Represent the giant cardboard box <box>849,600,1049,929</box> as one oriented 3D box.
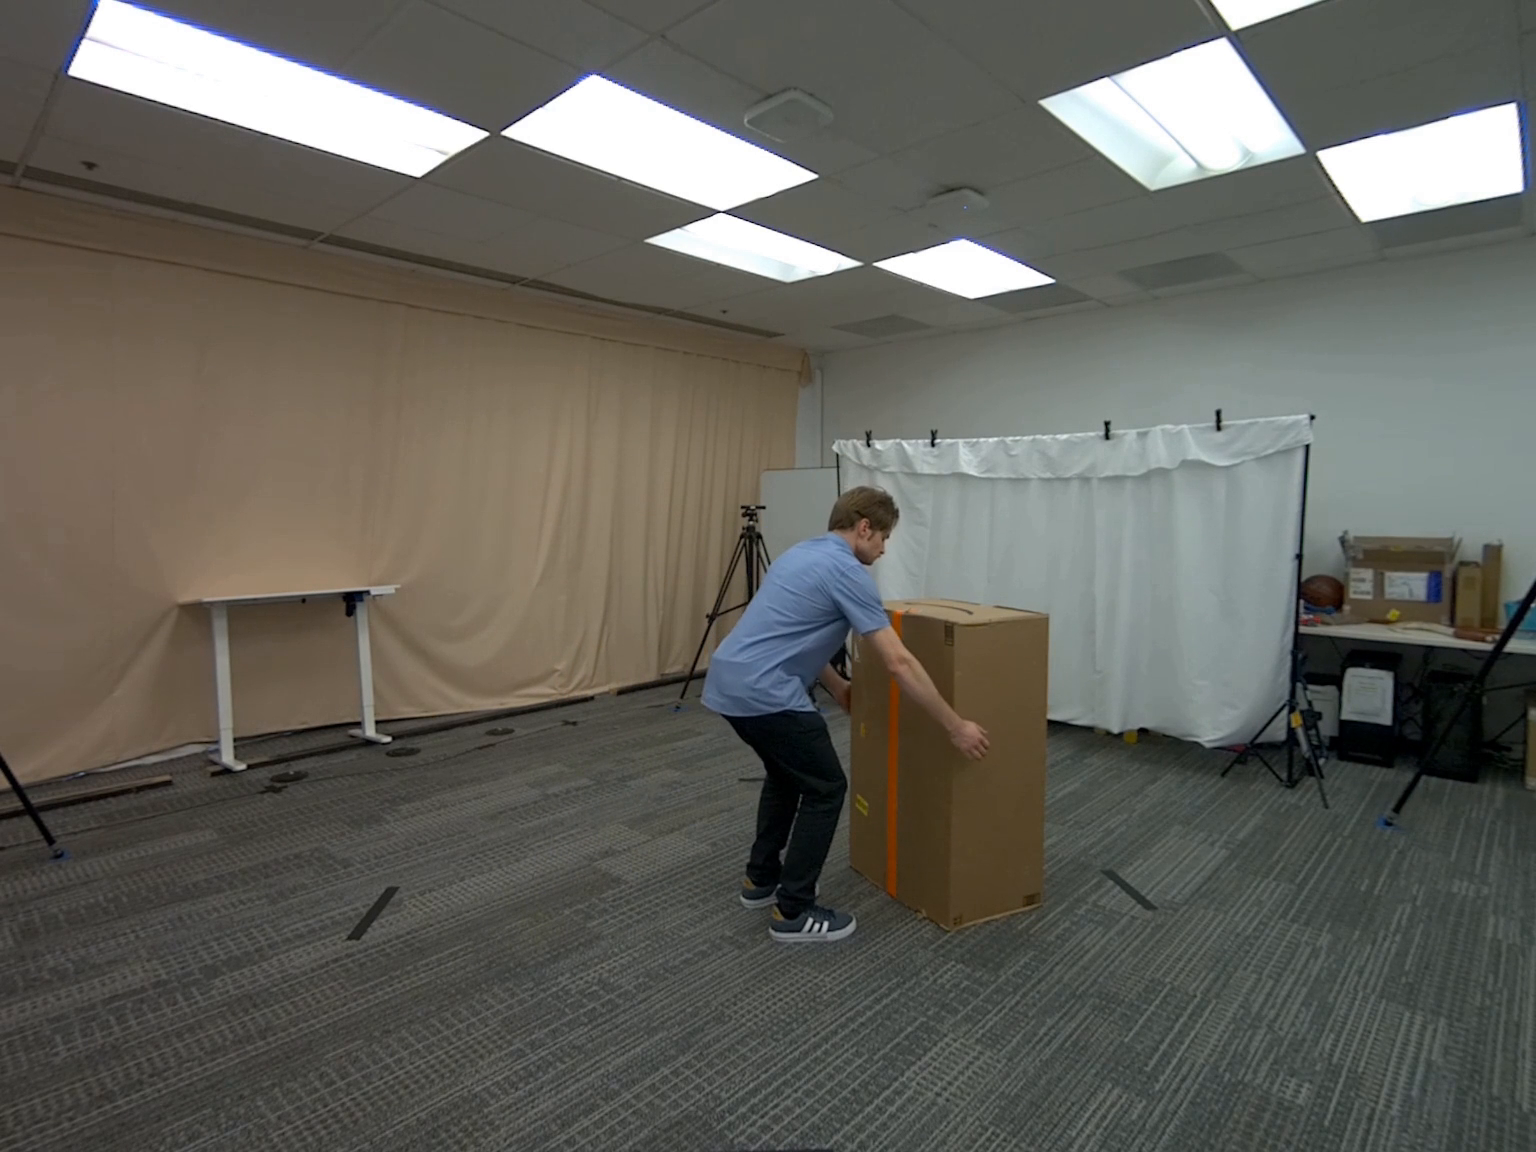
[{"bbox_3d":[0.639,0.624,3.062,0.415,1.024,0.594,-1,4,-28],"label":"giant cardboard box"}]
